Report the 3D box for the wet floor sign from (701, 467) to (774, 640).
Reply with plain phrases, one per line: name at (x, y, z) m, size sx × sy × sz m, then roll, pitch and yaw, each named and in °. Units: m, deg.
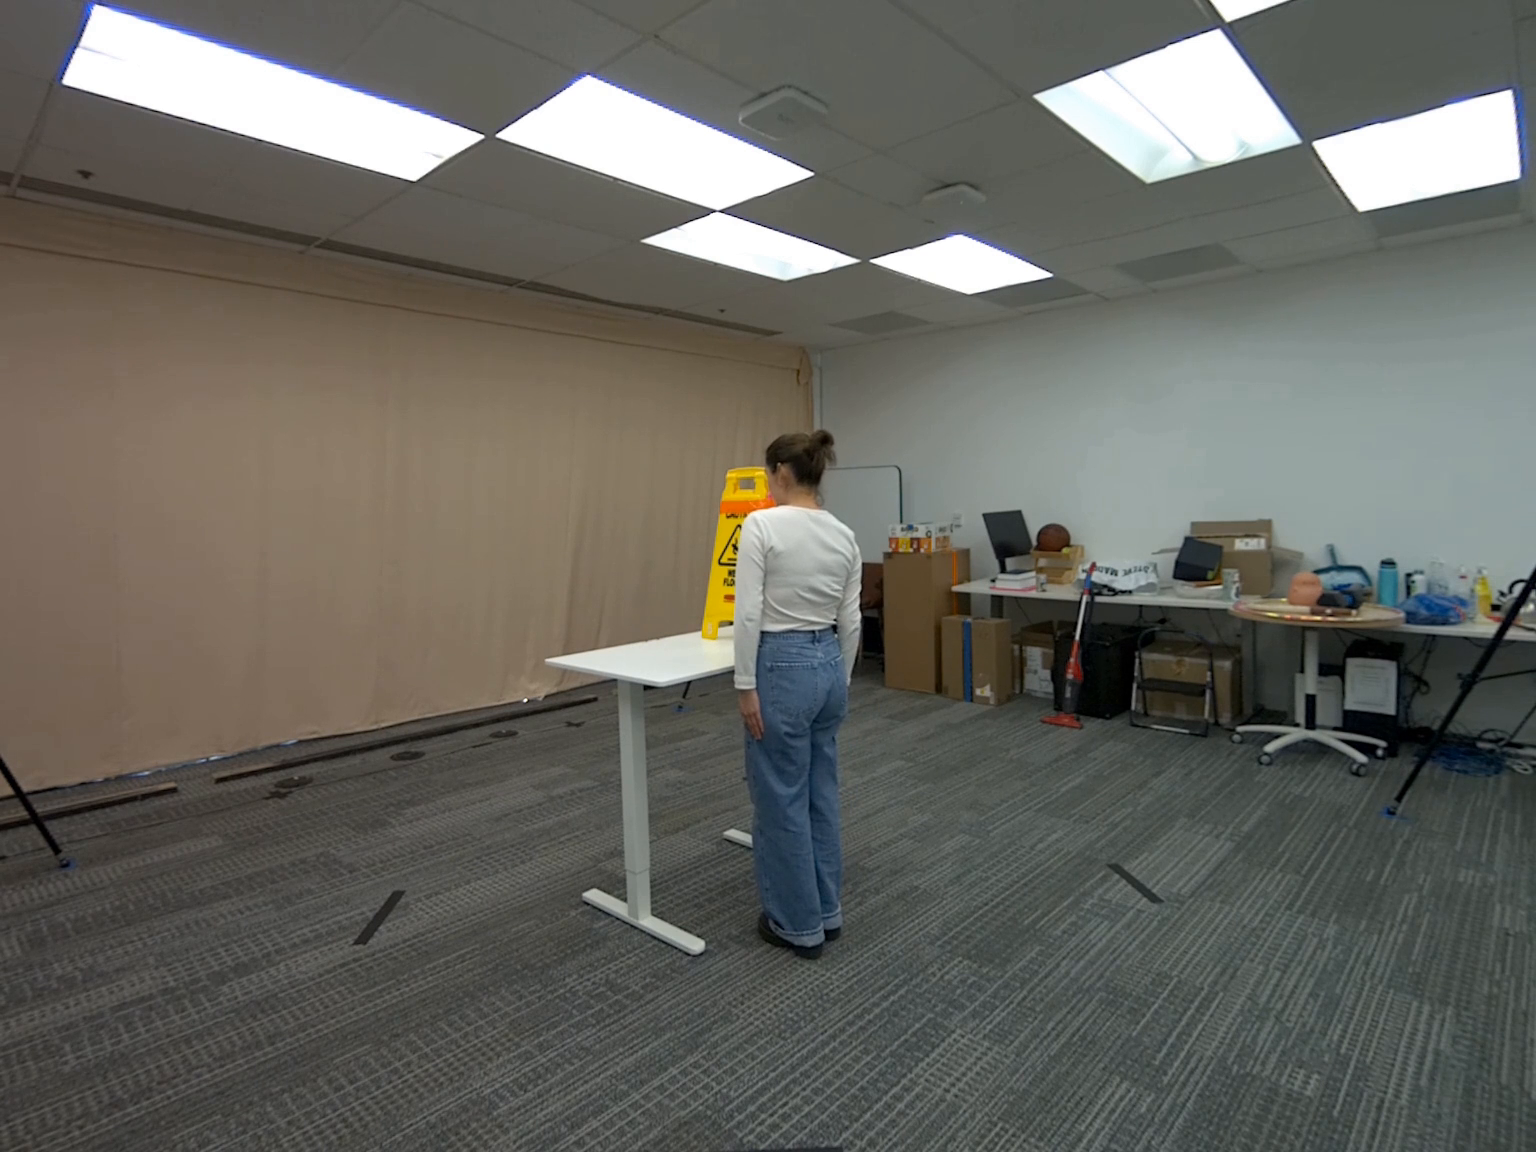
wet floor sign at (-0.066, -0.087, 3.241) m, size 0.291 × 0.645 × 0.281 m, roll 2°, pitch 4°, yaw 42°
